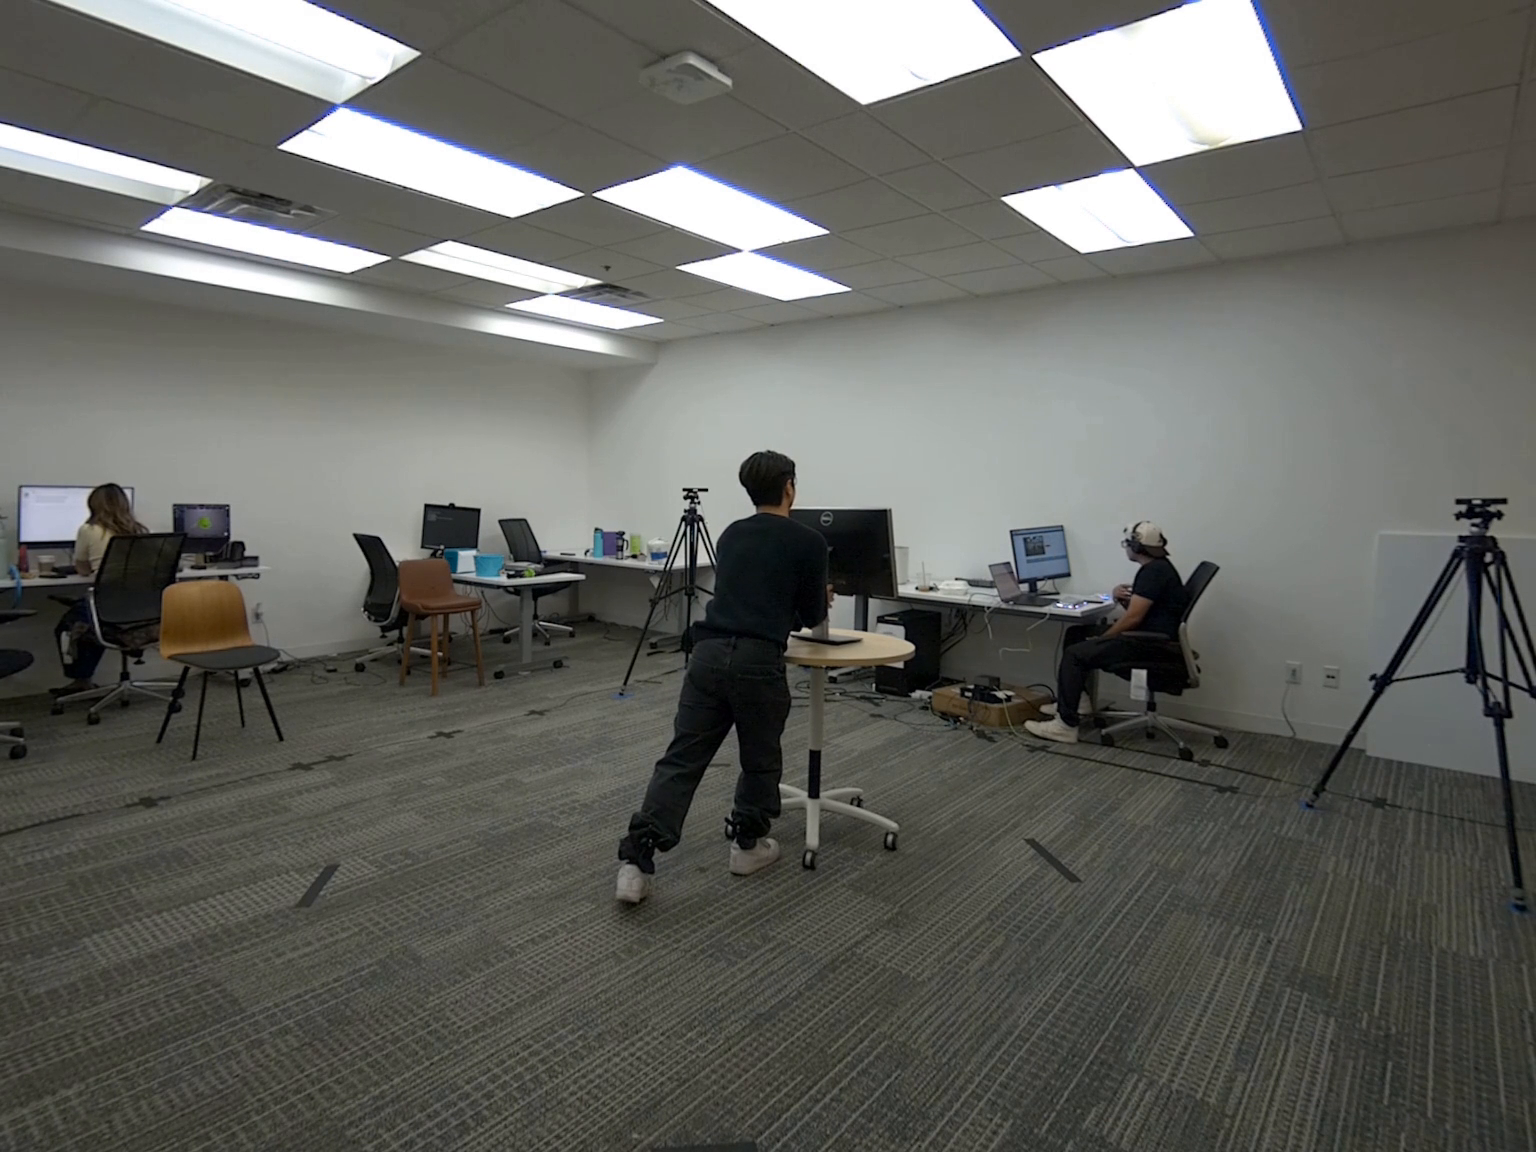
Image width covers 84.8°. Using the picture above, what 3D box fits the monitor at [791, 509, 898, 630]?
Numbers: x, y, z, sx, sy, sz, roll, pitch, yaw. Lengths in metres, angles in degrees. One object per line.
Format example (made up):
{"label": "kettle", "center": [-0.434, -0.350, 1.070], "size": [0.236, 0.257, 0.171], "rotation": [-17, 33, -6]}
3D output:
{"label": "monitor", "center": [0.244, -0.016, 3.502], "size": [0.547, 0.518, 0.168], "rotation": [1, -5, 39]}
